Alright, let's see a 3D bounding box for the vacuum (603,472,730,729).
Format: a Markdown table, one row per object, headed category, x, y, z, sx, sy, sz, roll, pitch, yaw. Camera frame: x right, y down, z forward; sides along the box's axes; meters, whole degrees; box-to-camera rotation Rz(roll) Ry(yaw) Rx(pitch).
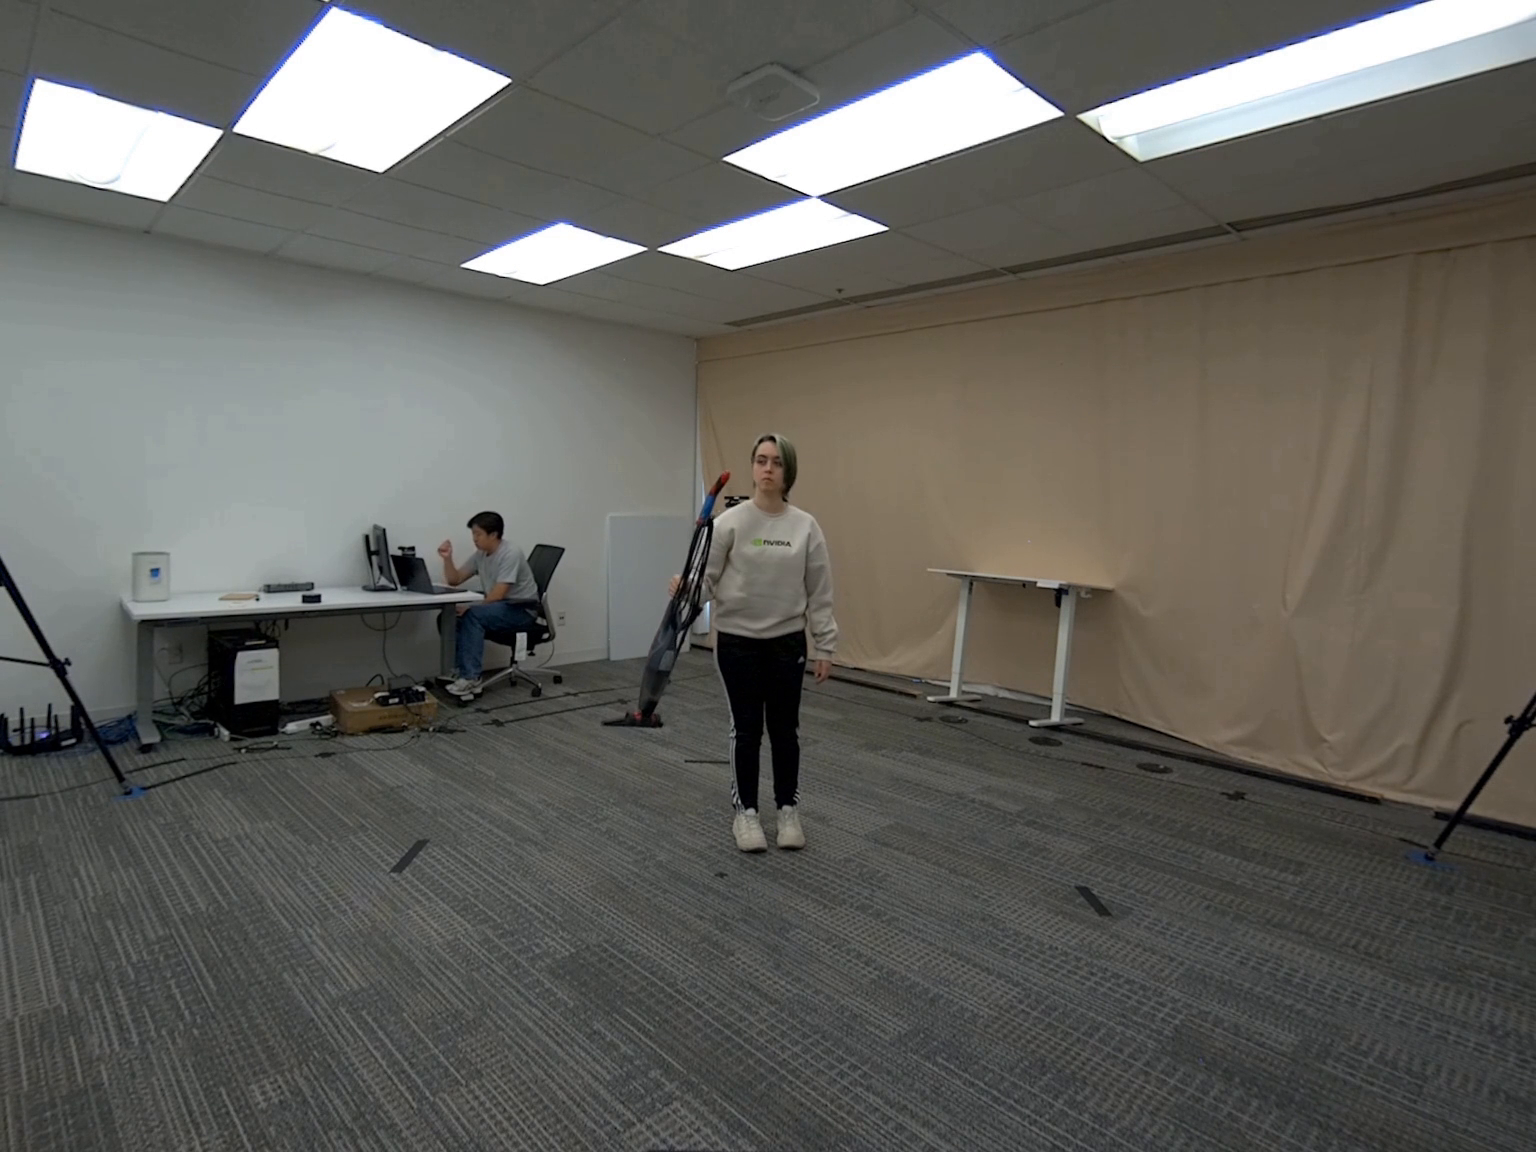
| category | x | y | z | sx | sy | sz | roll | pitch | yaw |
| --- | --- | --- | --- | --- | --- | --- | --- | --- | --- |
| vacuum | -0.337 | 0.116 | 3.107 | 0.246 | 1.042 | 0.148 | 9 | 20 | -35 |
